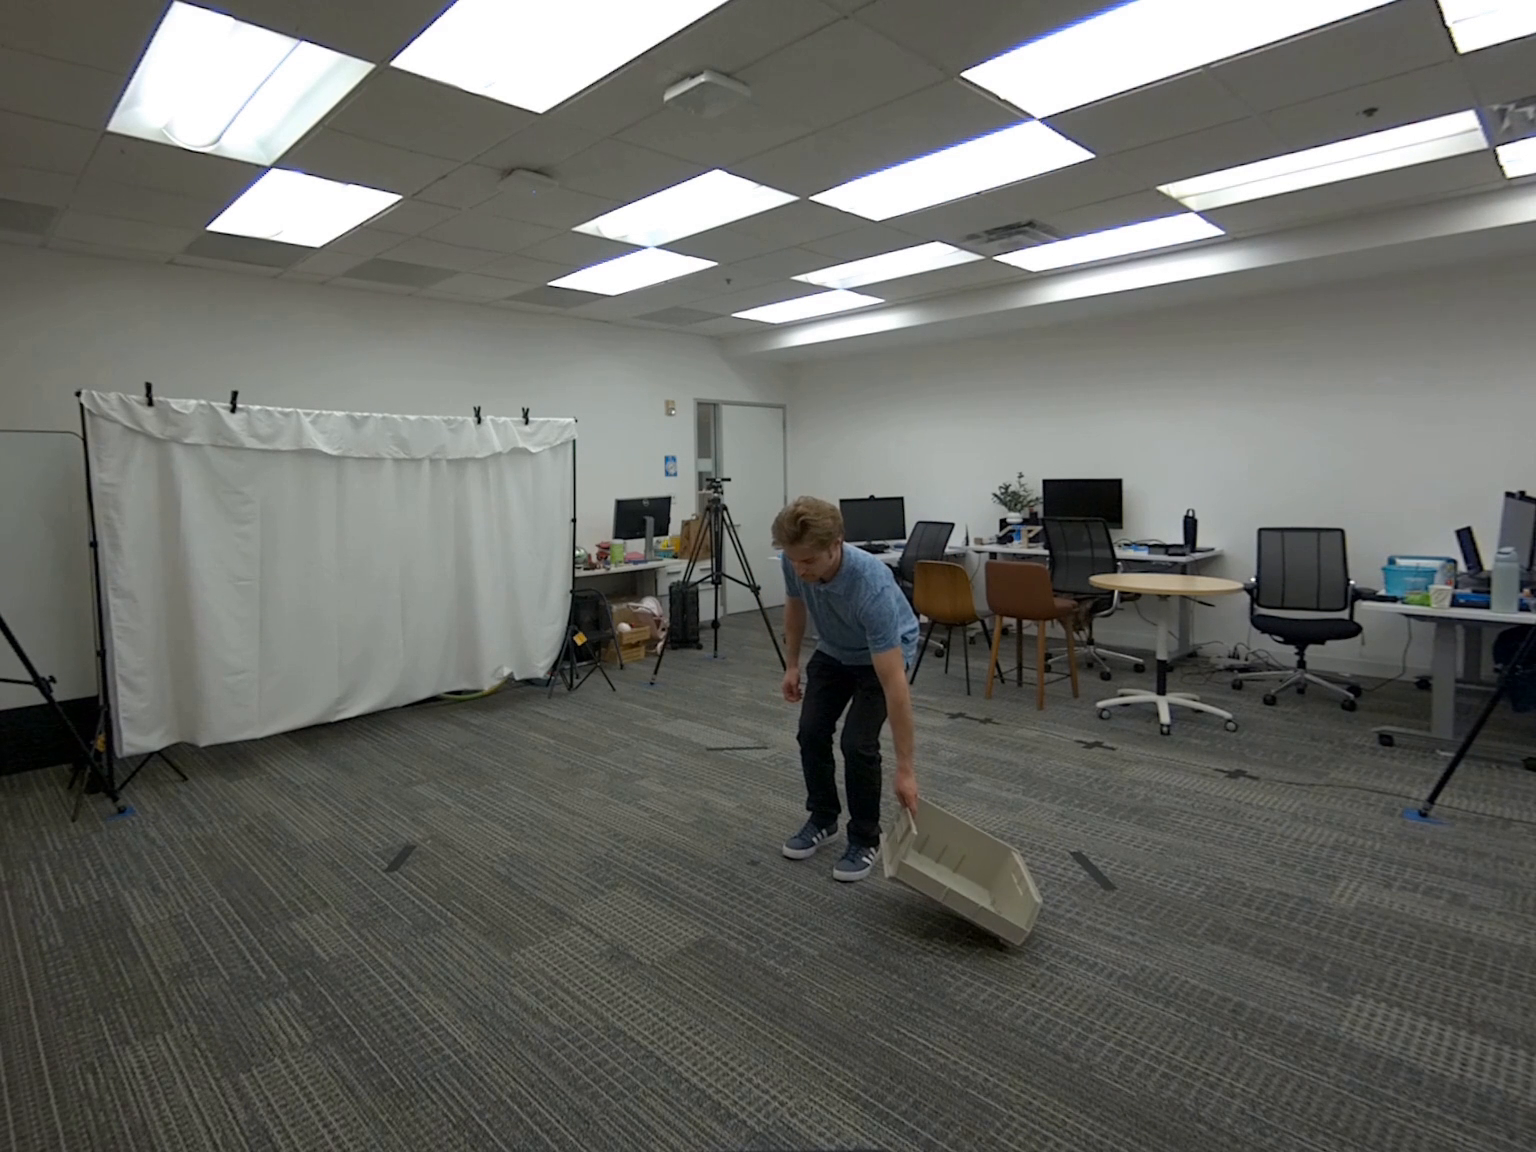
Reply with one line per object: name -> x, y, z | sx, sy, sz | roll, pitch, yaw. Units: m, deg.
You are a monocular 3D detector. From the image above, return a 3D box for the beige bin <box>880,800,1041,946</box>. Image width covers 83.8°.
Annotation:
beige bin -> 0.580, 0.891, 2.667 | 0.427, 0.188, 0.374 | 25, 6, 7
